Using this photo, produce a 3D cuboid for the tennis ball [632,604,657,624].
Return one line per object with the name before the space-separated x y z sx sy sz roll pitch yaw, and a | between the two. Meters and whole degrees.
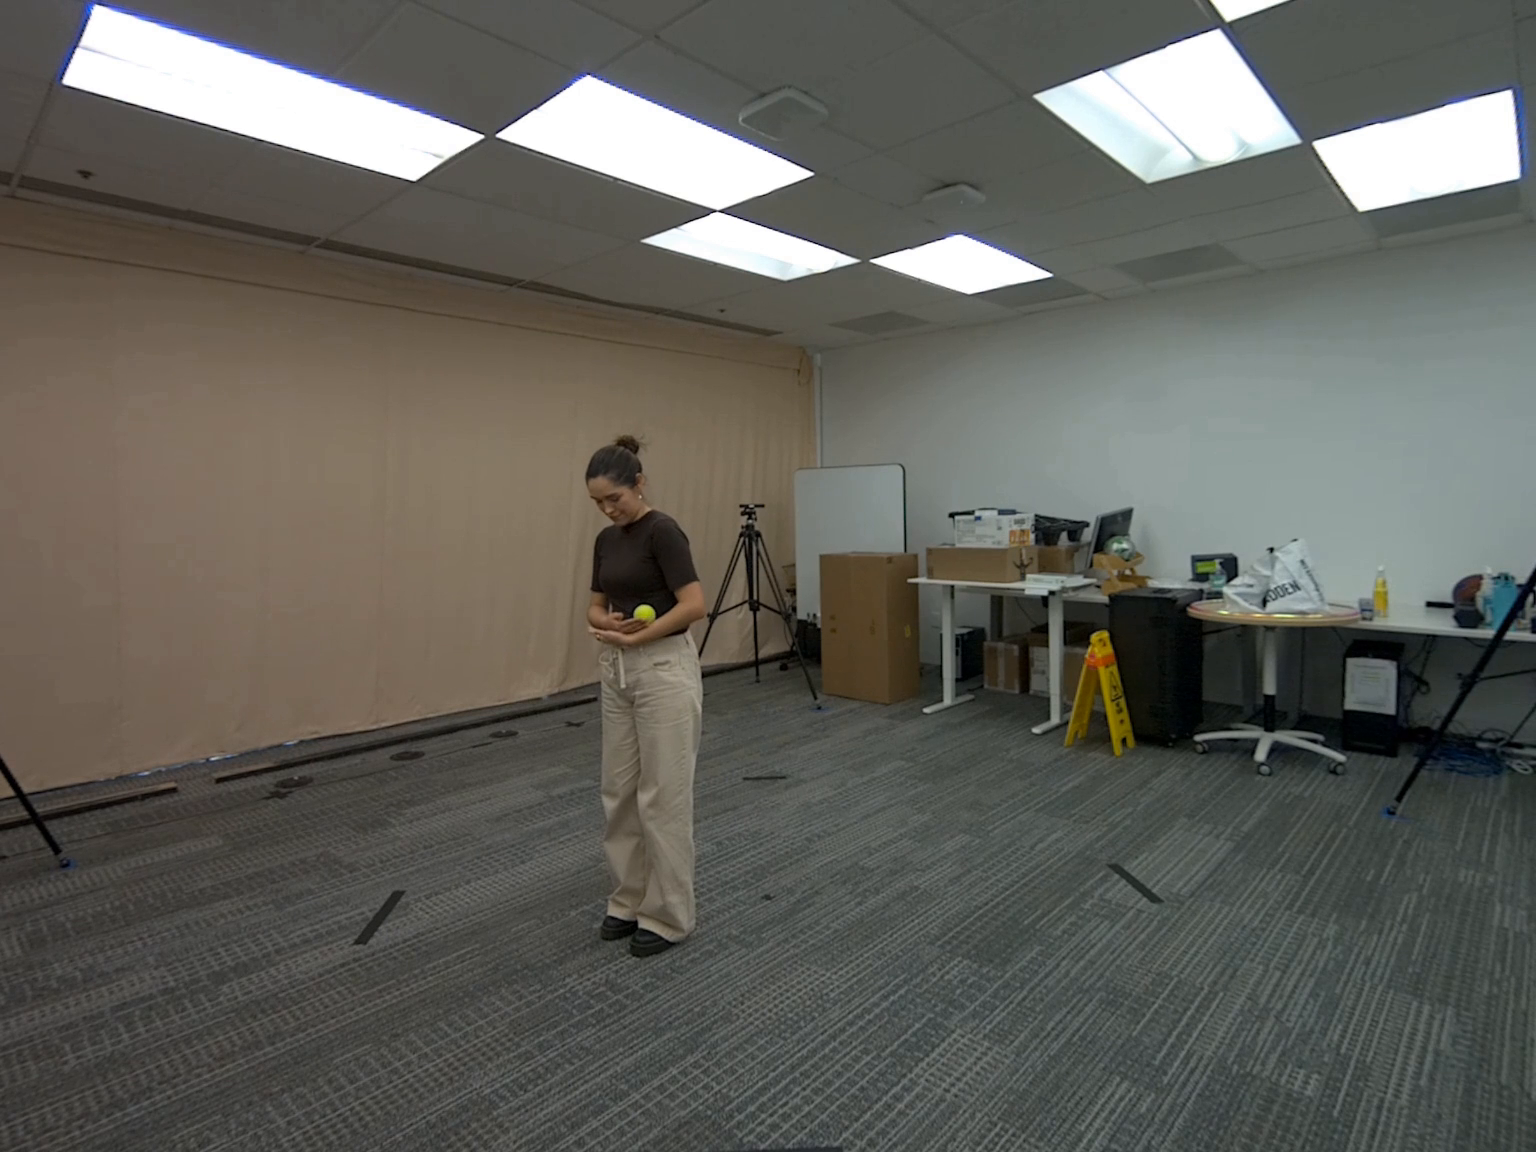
tennis ball | -0.388 0.127 2.609 0.066 0.066 0.067 -1 4 -2
